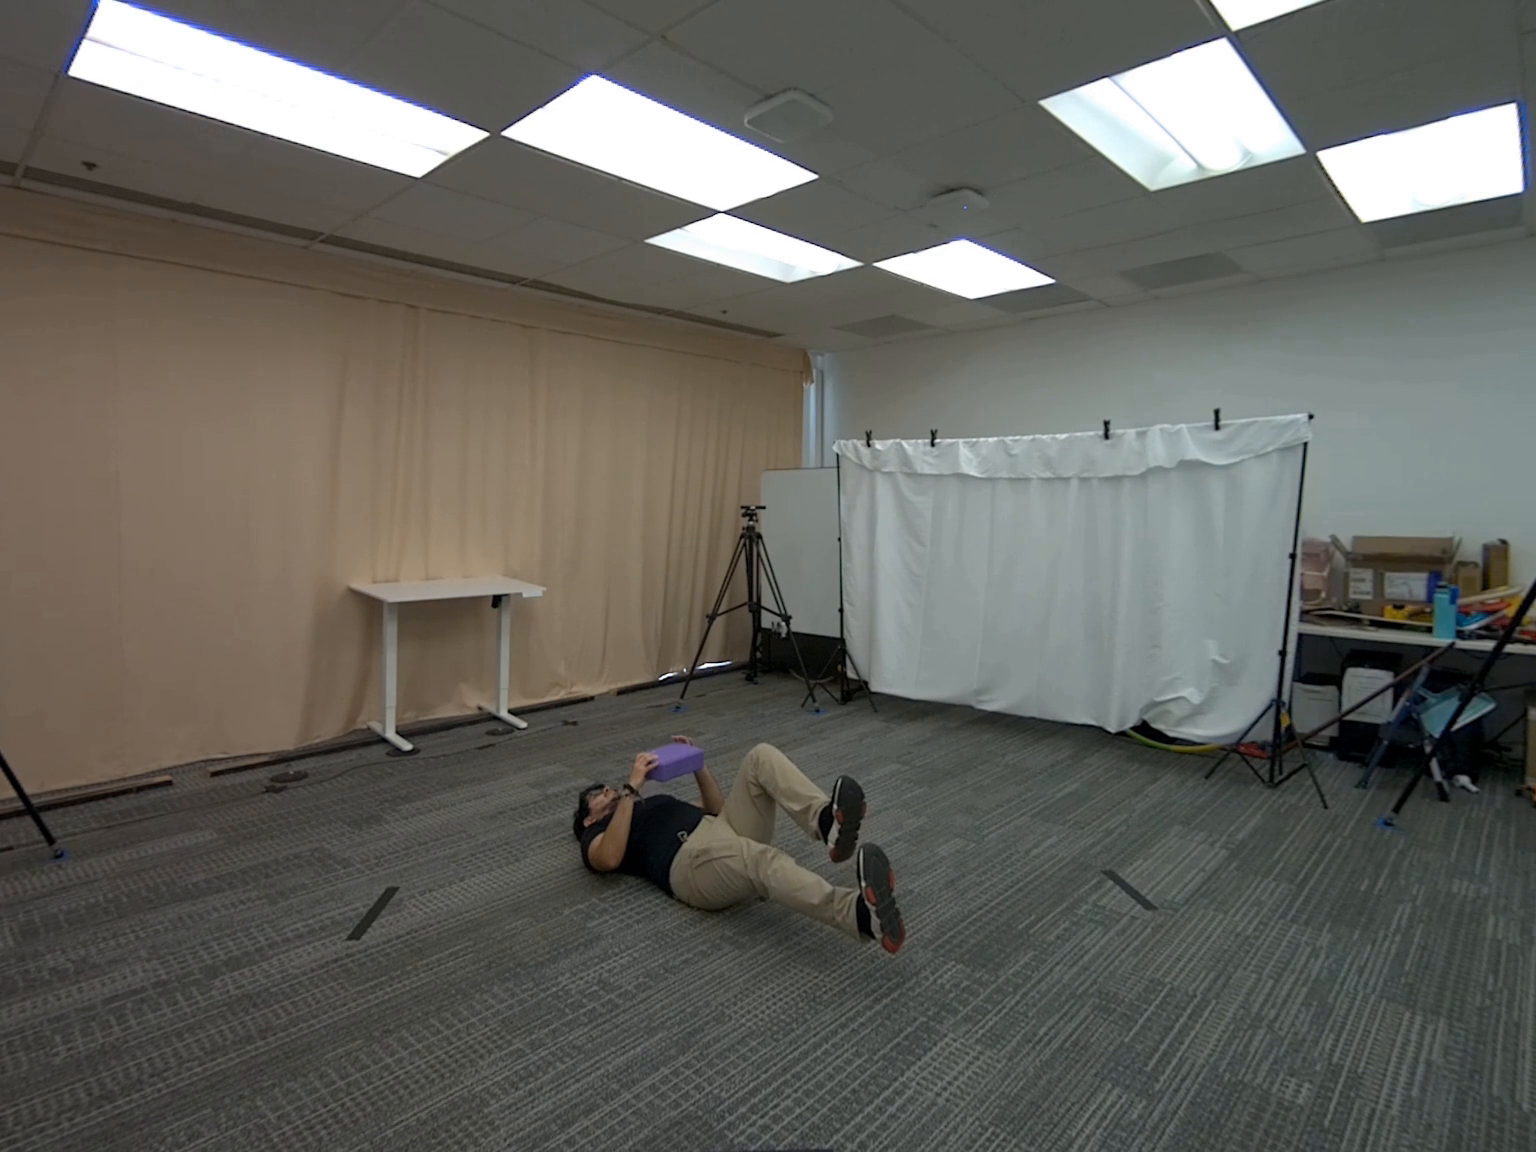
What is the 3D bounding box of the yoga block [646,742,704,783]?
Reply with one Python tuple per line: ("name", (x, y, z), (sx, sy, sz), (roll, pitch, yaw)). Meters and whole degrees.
("yoga block", (-0.364, 0.709, 3.213), (0.154, 0.076, 0.223), (4, 8, 39))
